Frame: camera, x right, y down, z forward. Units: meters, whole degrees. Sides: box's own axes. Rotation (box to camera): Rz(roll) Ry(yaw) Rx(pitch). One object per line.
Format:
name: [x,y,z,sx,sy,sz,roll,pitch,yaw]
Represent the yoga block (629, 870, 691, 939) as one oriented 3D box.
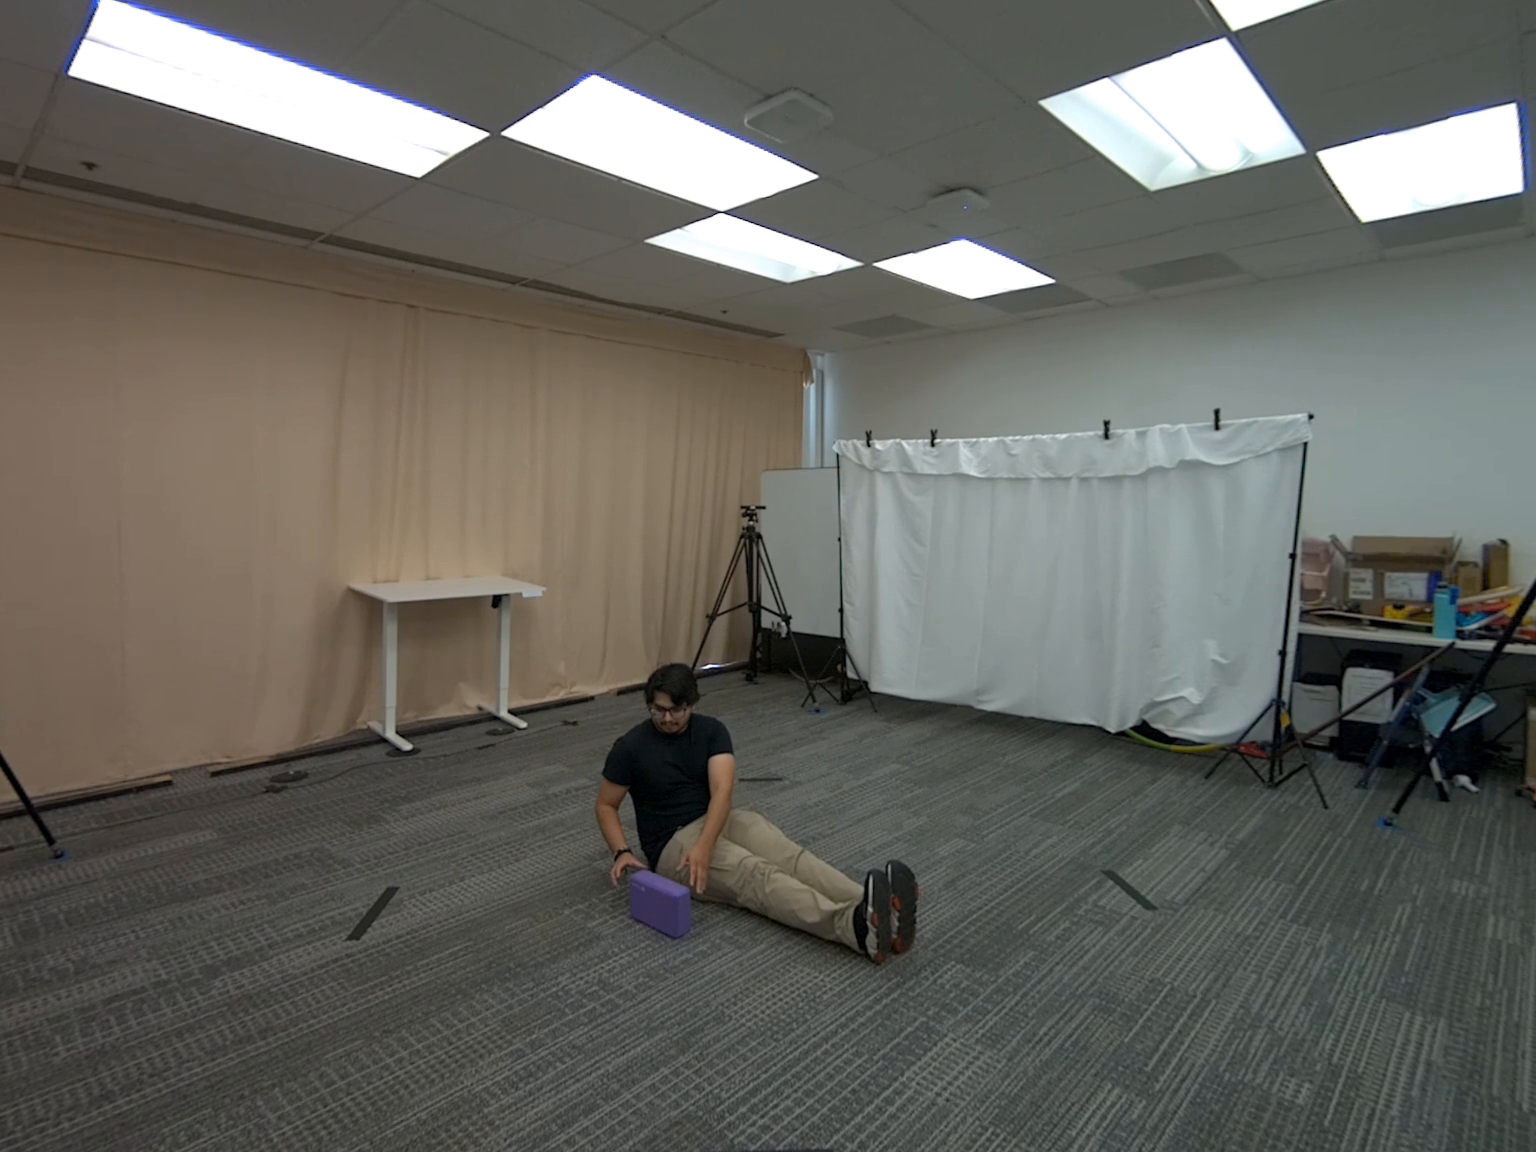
yoga block: [-0.365,1.079,2.801,0.237,0.148,0.074,5,6,41]
